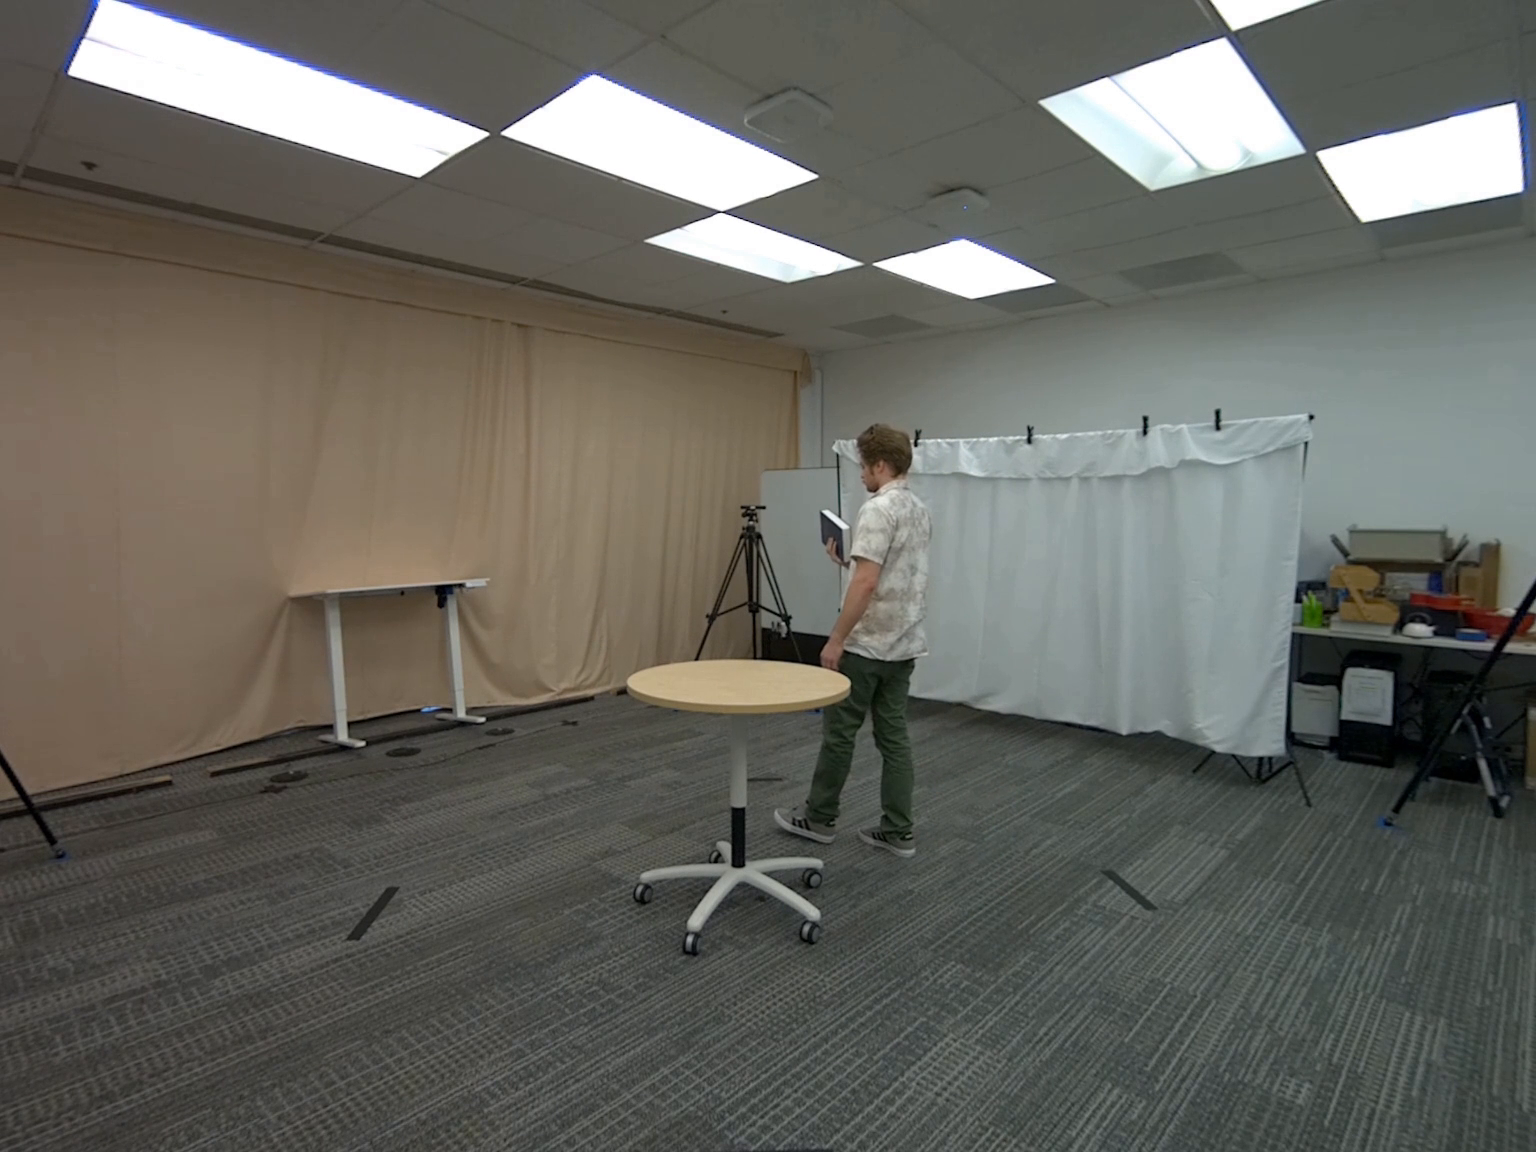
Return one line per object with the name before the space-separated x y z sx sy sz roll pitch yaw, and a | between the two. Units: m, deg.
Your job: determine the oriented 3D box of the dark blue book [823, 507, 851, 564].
dark blue book | 0.298 -0.181 3.691 0.045 0.161 0.251 -9 25 -8
